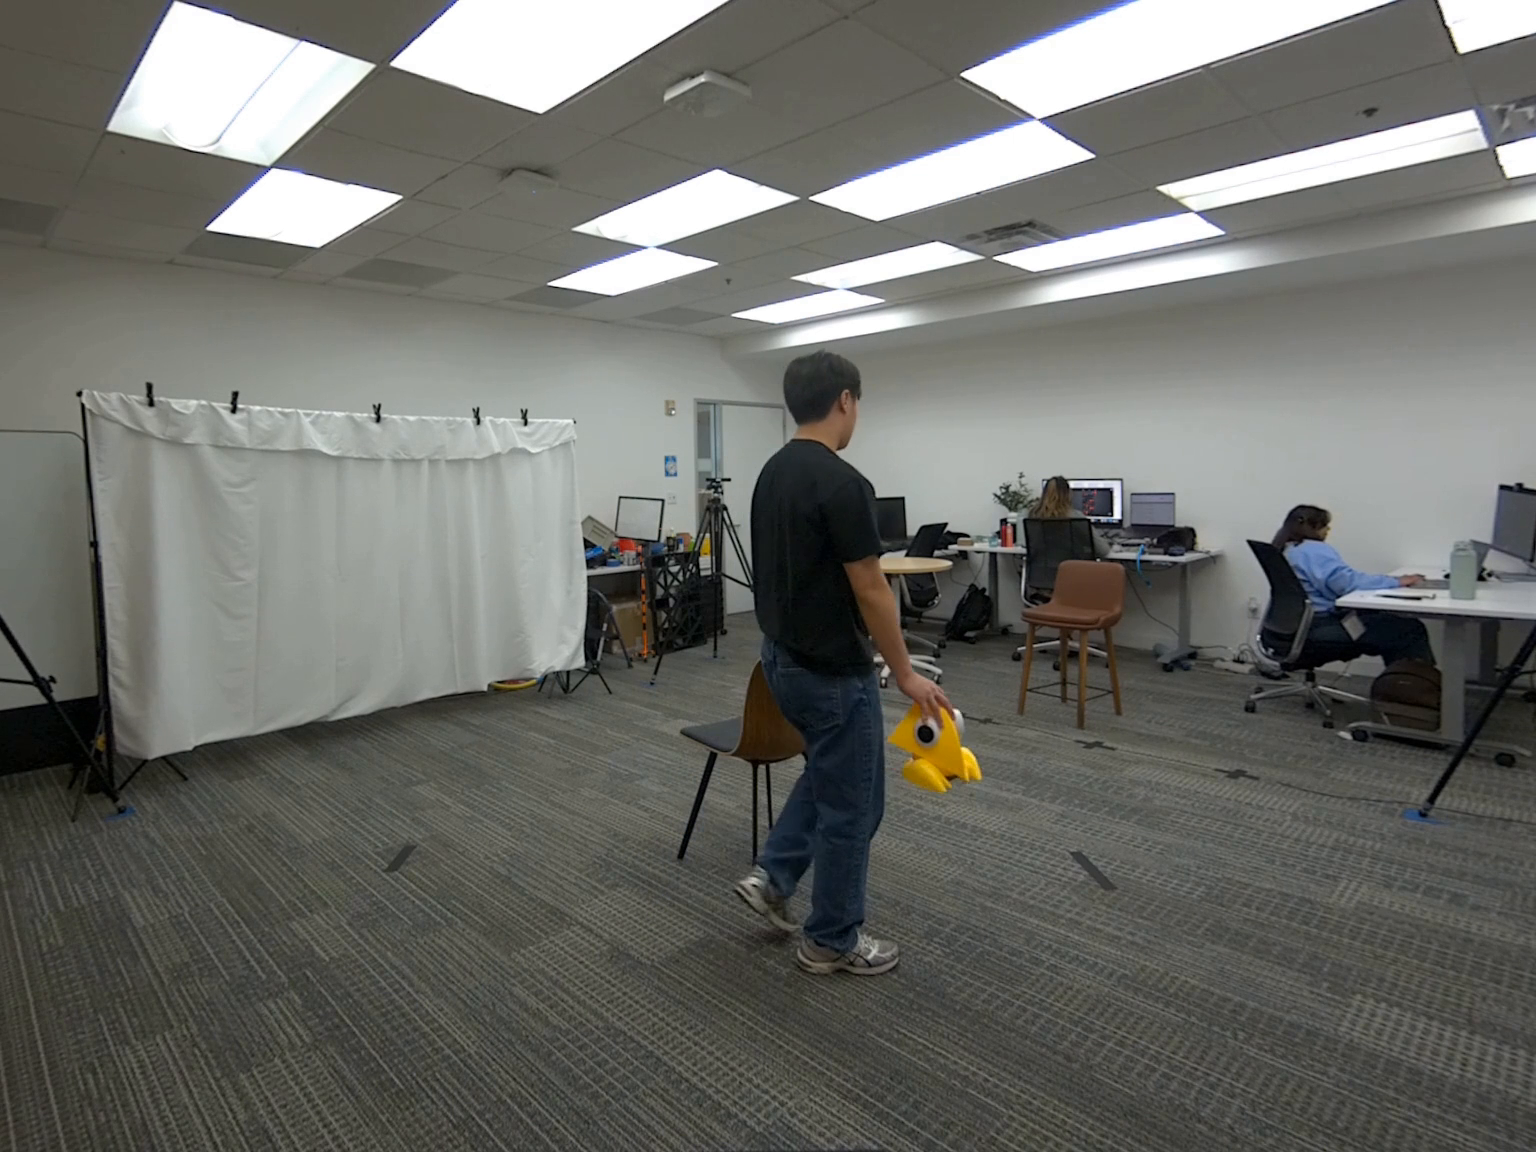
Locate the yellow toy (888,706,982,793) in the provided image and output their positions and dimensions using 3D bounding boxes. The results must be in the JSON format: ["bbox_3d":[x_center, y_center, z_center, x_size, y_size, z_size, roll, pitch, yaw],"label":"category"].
[{"bbox_3d":[0.457,0.411,2.267,0.200,0.228,0.199,-7,14,-31],"label":"yellow toy"}]
